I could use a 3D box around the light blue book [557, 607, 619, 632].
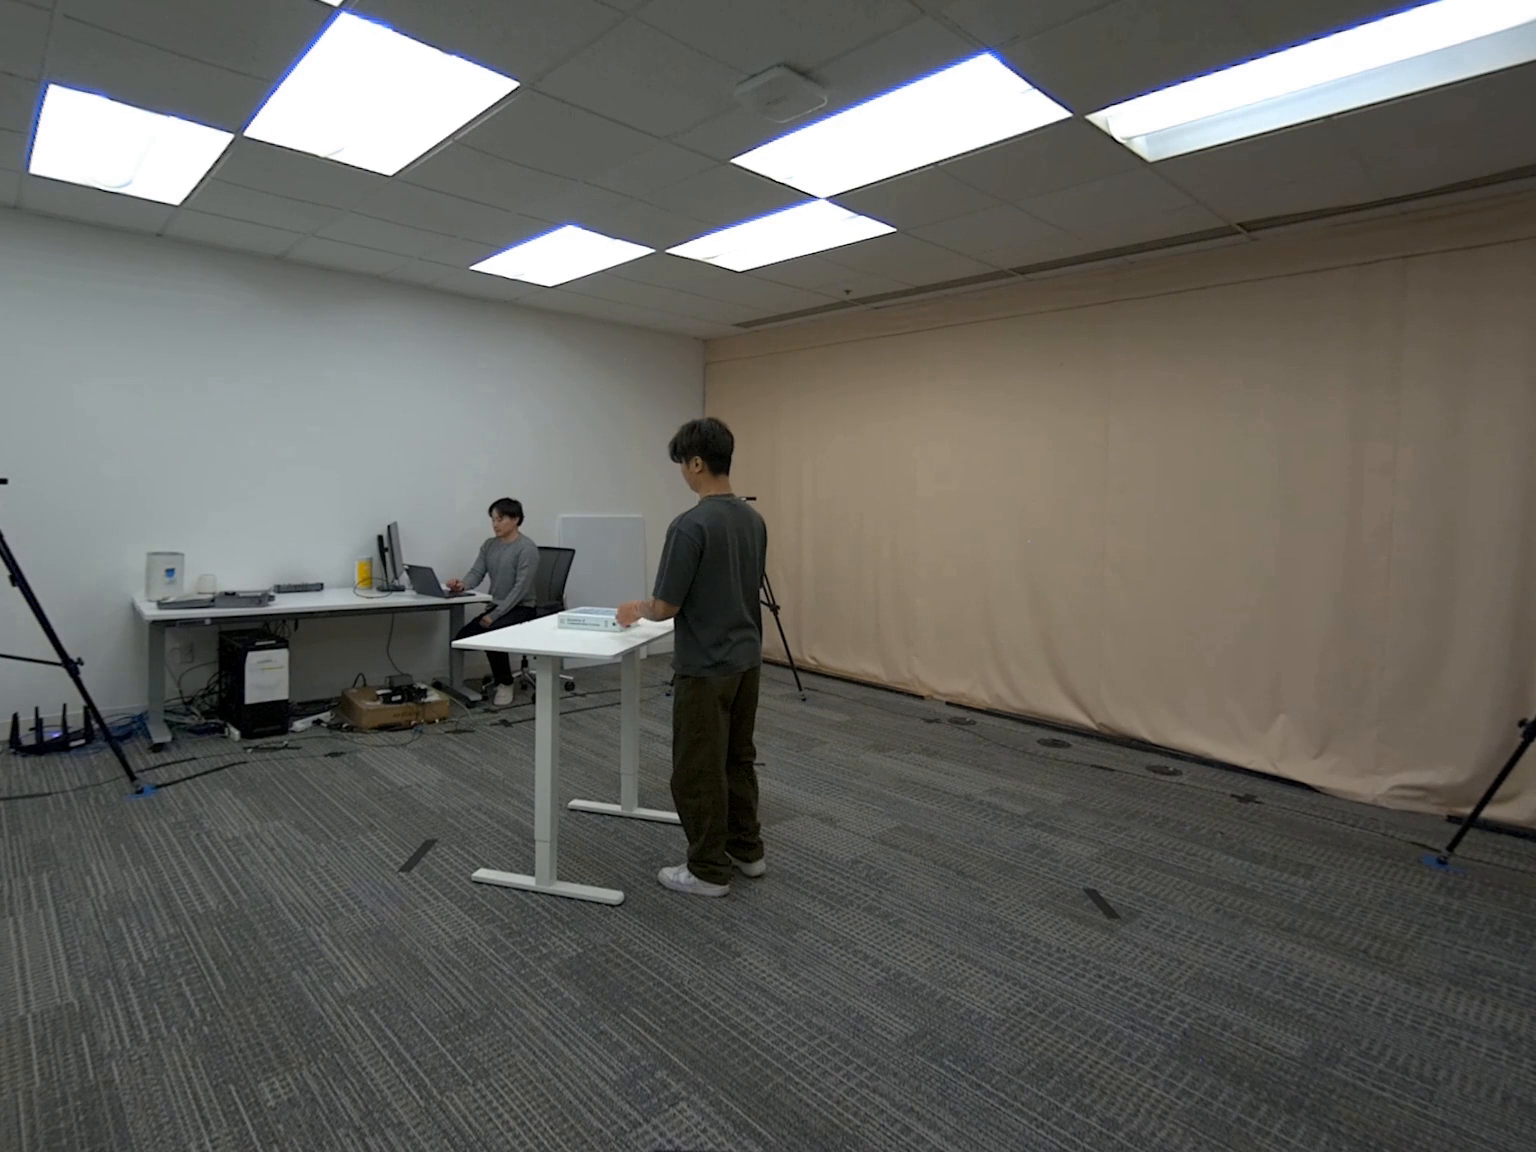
[{"bbox_3d":[-0.661,0.169,3.269,0.264,0.059,0.190,2,5,14],"label":"light blue book"}]
